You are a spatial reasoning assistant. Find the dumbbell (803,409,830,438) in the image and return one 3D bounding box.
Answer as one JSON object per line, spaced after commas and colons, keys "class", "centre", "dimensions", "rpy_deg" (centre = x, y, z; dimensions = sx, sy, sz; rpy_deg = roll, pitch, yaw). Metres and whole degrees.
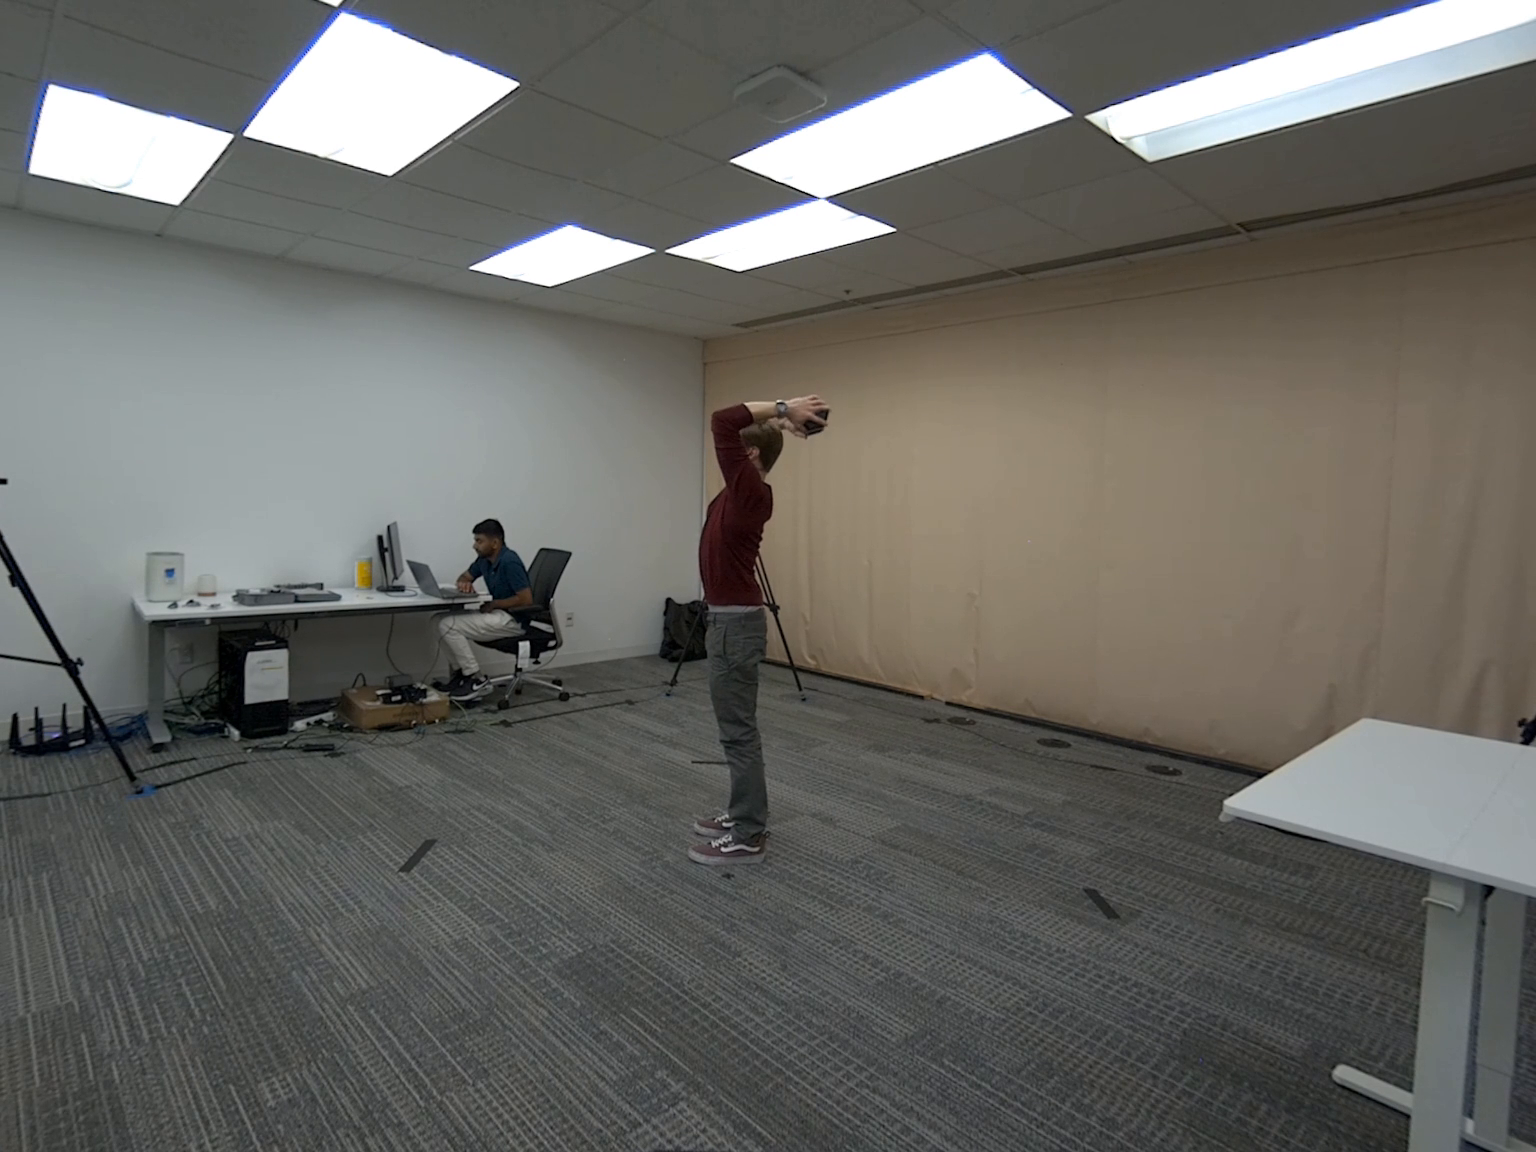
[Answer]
{"class": "dumbbell", "centre": [0.126, -0.621, 3.285], "dimensions": [0.124, 0.108, 0.291], "rpy_deg": [42, 11, 7]}
